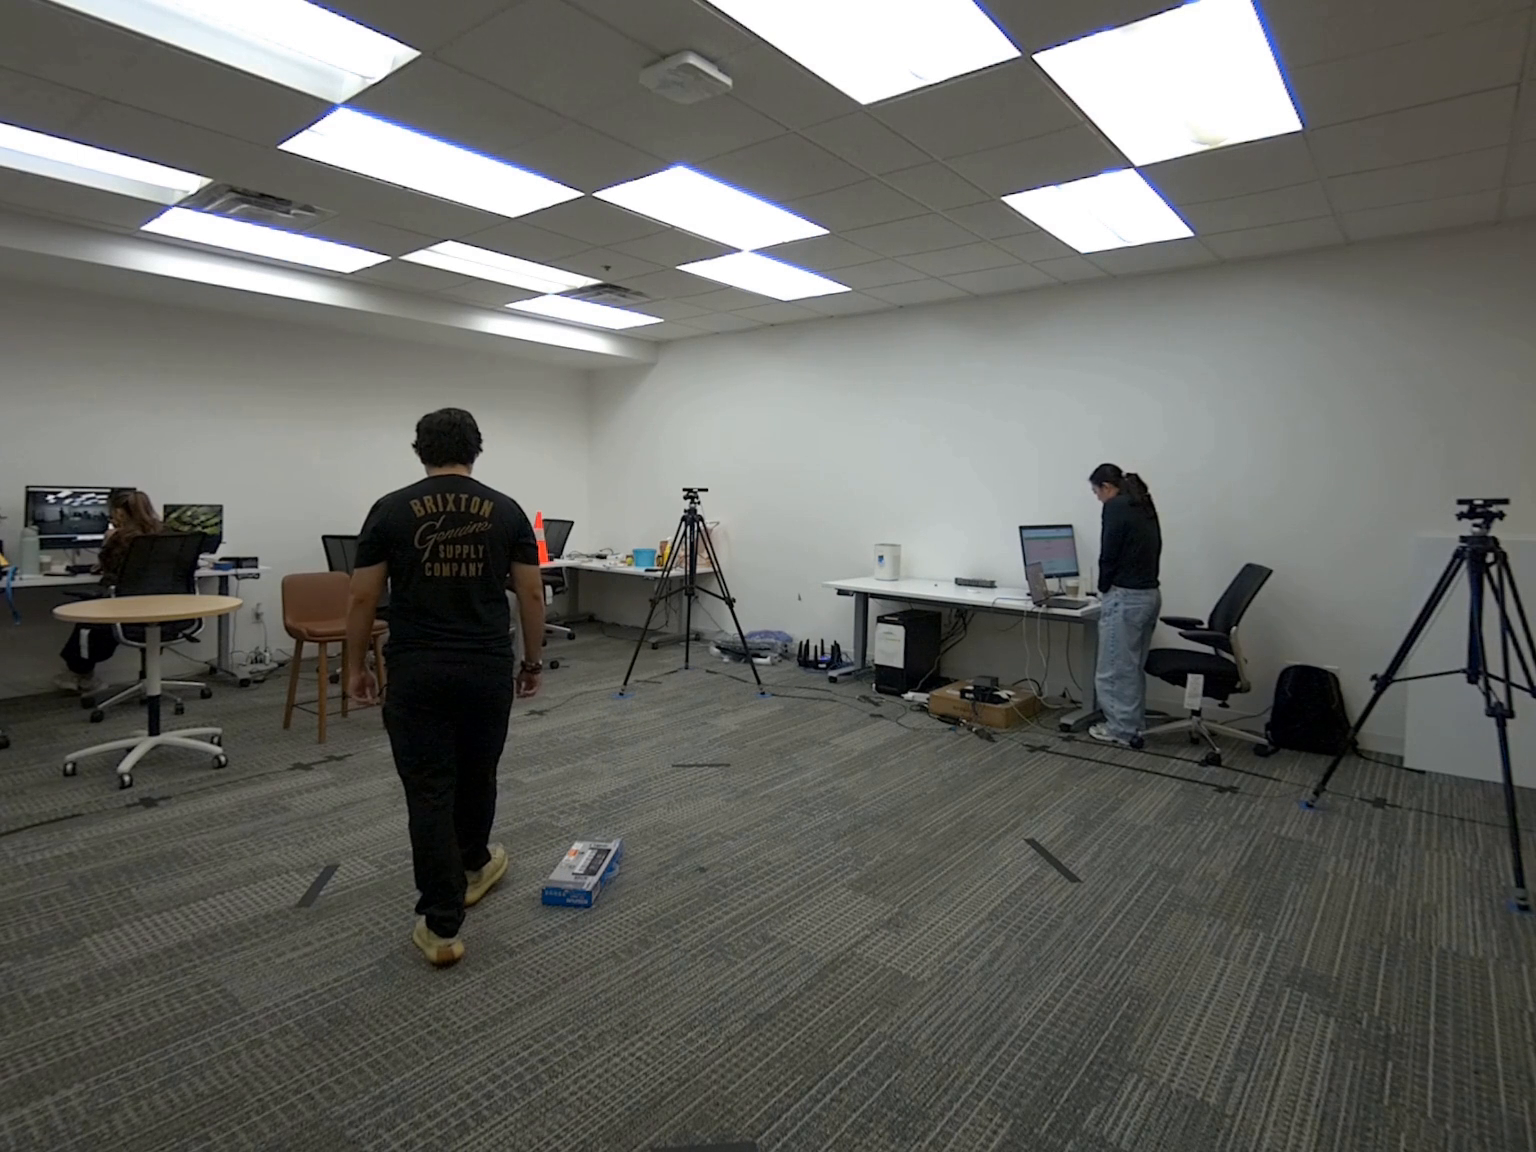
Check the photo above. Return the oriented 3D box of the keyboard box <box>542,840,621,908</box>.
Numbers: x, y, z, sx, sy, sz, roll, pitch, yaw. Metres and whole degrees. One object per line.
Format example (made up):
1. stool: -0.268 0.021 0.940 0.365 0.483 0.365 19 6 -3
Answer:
1. keyboard box: -0.662 1.040 3.026 0.177 0.059 0.435 1 5 4
